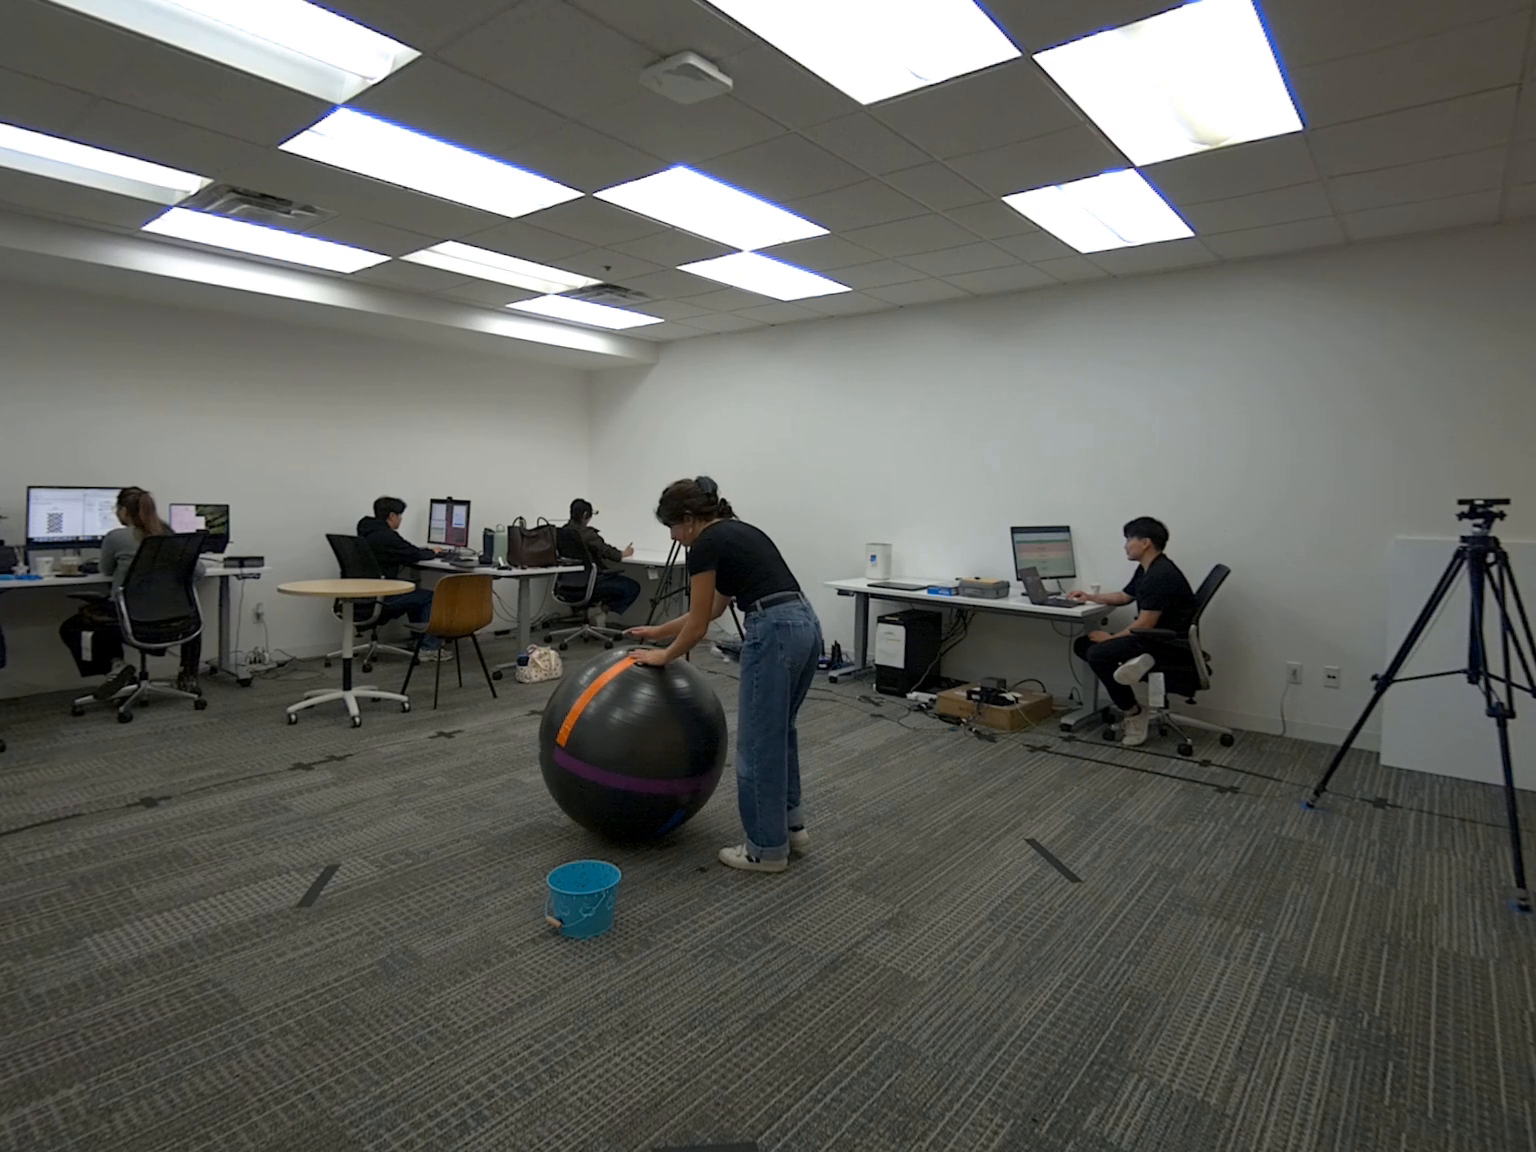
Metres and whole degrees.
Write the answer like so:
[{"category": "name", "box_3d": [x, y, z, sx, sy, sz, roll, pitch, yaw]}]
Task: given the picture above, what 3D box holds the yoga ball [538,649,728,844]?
[{"category": "yoga ball", "box_3d": [-0.548, 0.665, 3.419, 0.757, 0.756, 0.762, 1, 4, -2]}]
